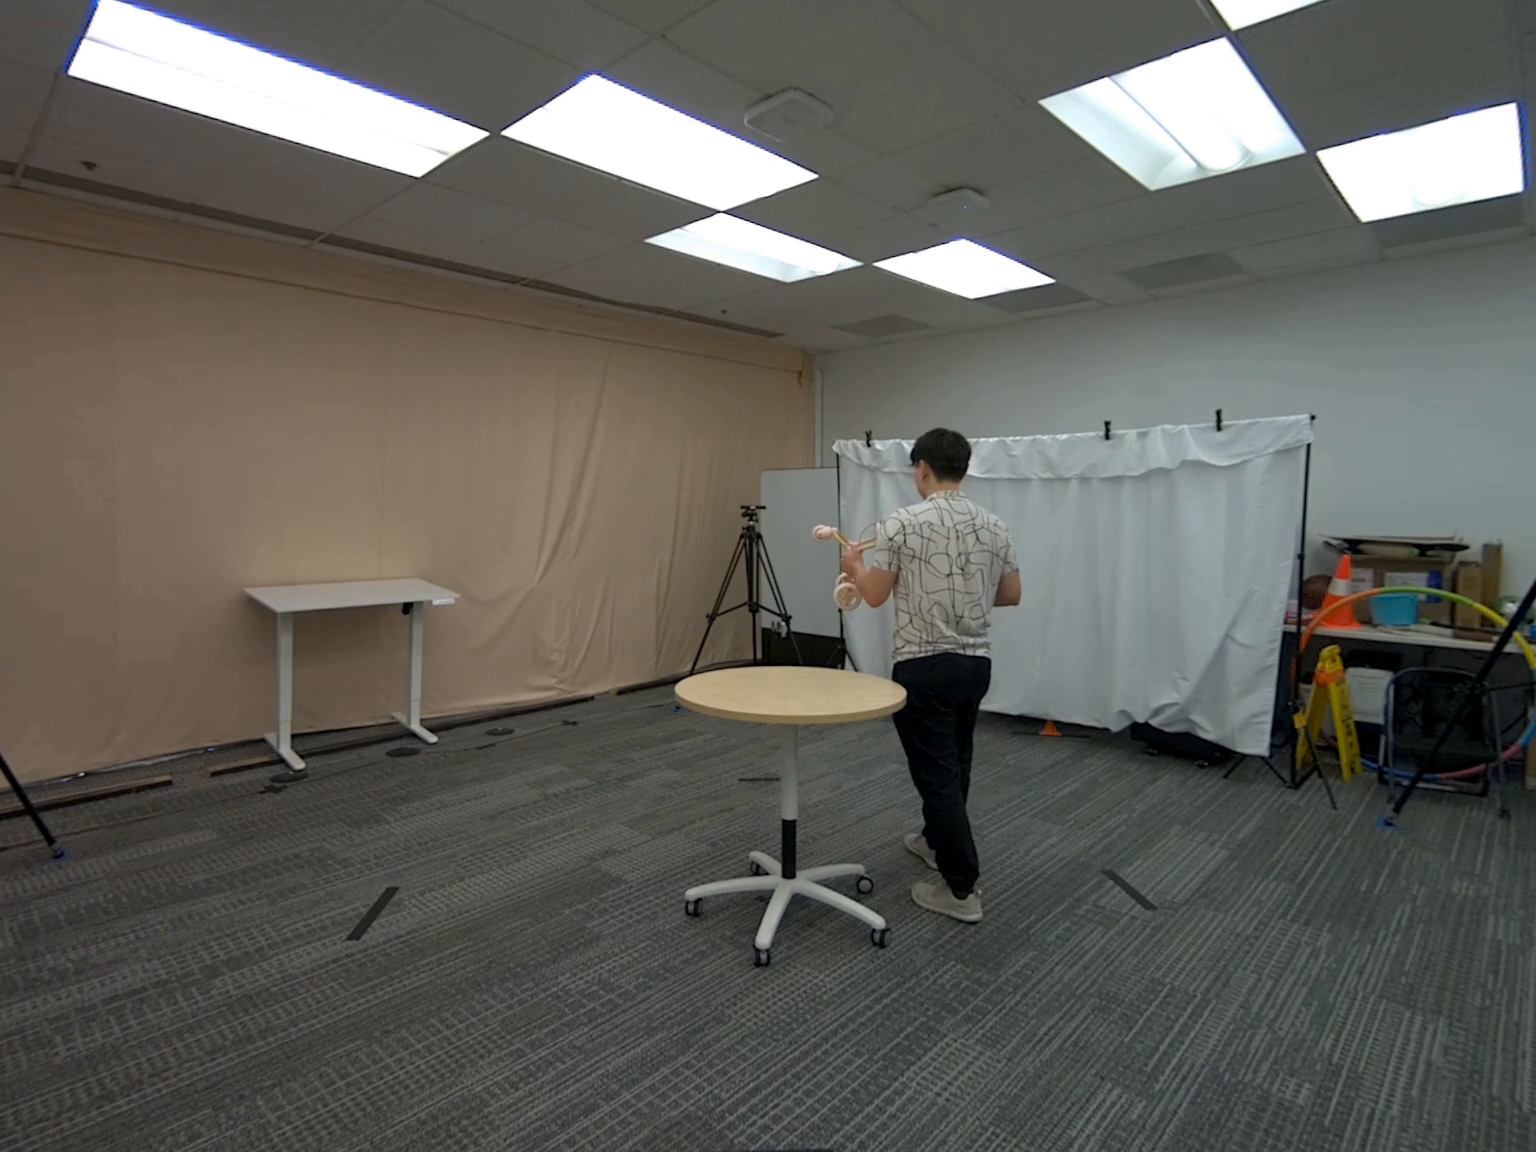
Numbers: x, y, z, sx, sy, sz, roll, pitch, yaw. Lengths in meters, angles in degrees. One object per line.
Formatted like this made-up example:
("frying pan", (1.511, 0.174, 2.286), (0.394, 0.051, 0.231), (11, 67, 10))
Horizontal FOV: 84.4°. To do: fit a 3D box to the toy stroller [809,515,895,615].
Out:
("toy stroller", (0.456, -0.063, 3.321), (0.540, 0.341, 0.279), (-6, 2, 10))
